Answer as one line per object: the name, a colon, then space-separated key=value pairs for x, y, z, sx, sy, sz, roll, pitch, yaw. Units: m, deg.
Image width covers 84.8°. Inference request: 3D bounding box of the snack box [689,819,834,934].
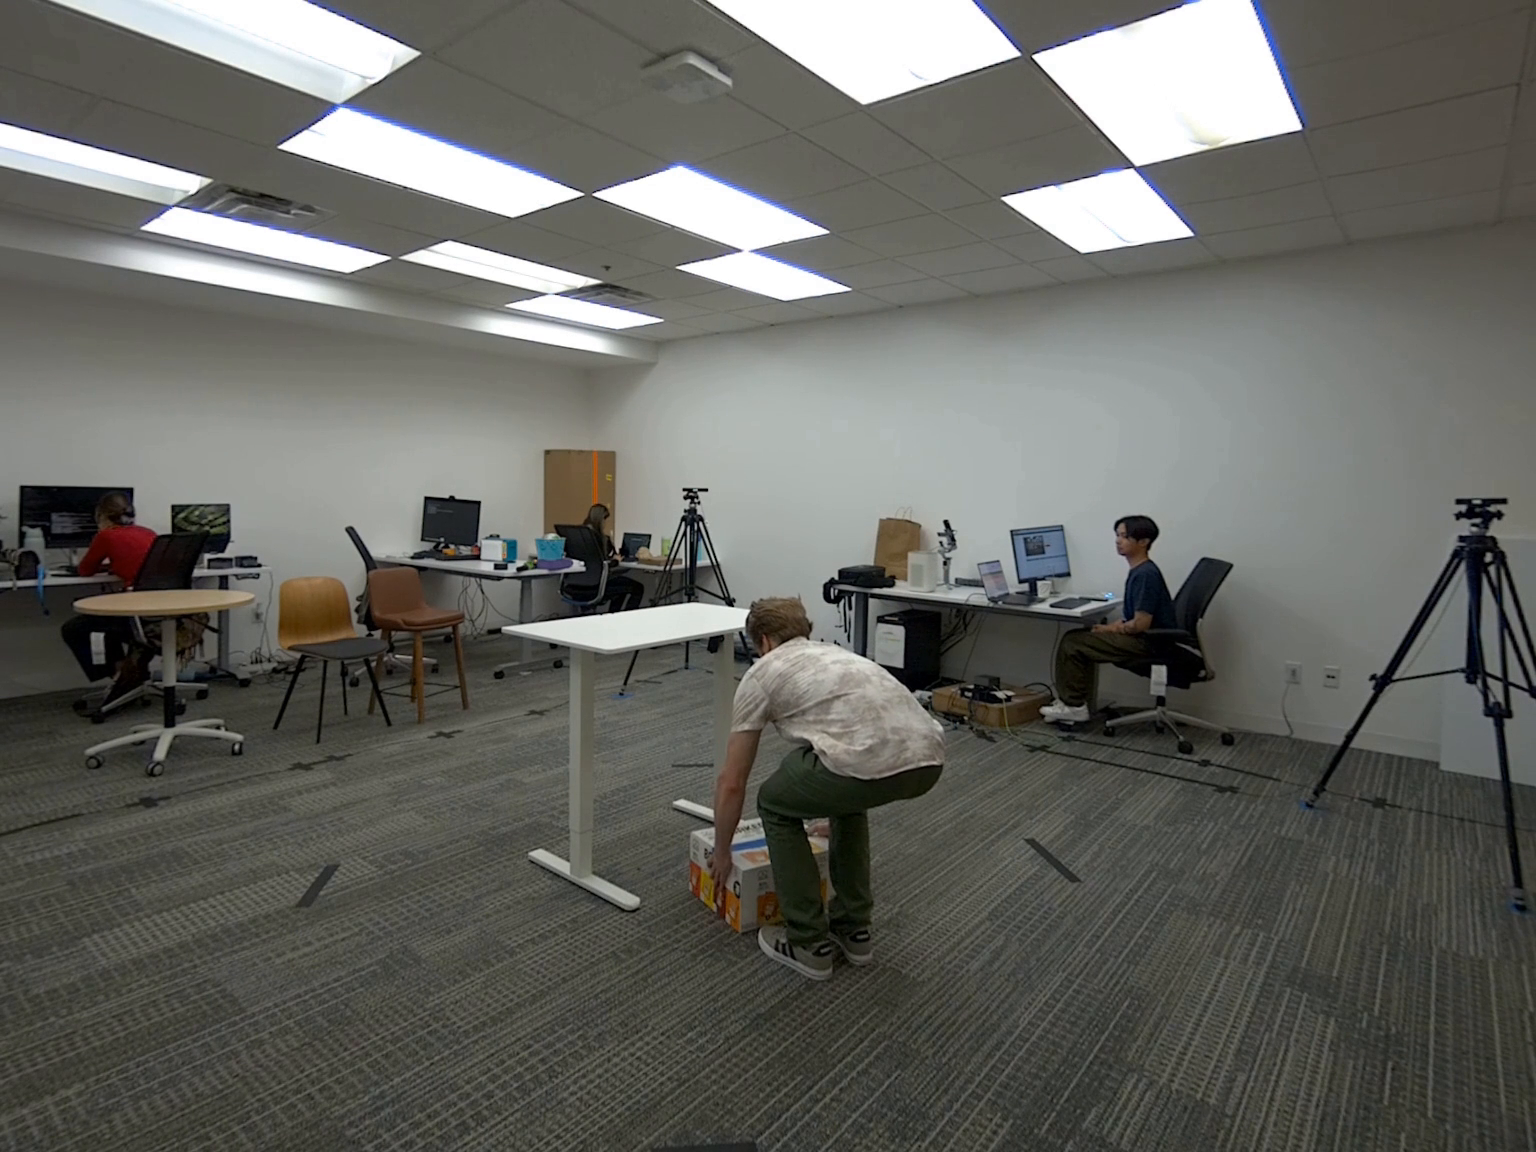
snack box: x=-0.020 y=0.993 z=2.898 sx=0.394 sy=0.205 sz=0.351 roll=-2 pitch=6 yaw=-32
